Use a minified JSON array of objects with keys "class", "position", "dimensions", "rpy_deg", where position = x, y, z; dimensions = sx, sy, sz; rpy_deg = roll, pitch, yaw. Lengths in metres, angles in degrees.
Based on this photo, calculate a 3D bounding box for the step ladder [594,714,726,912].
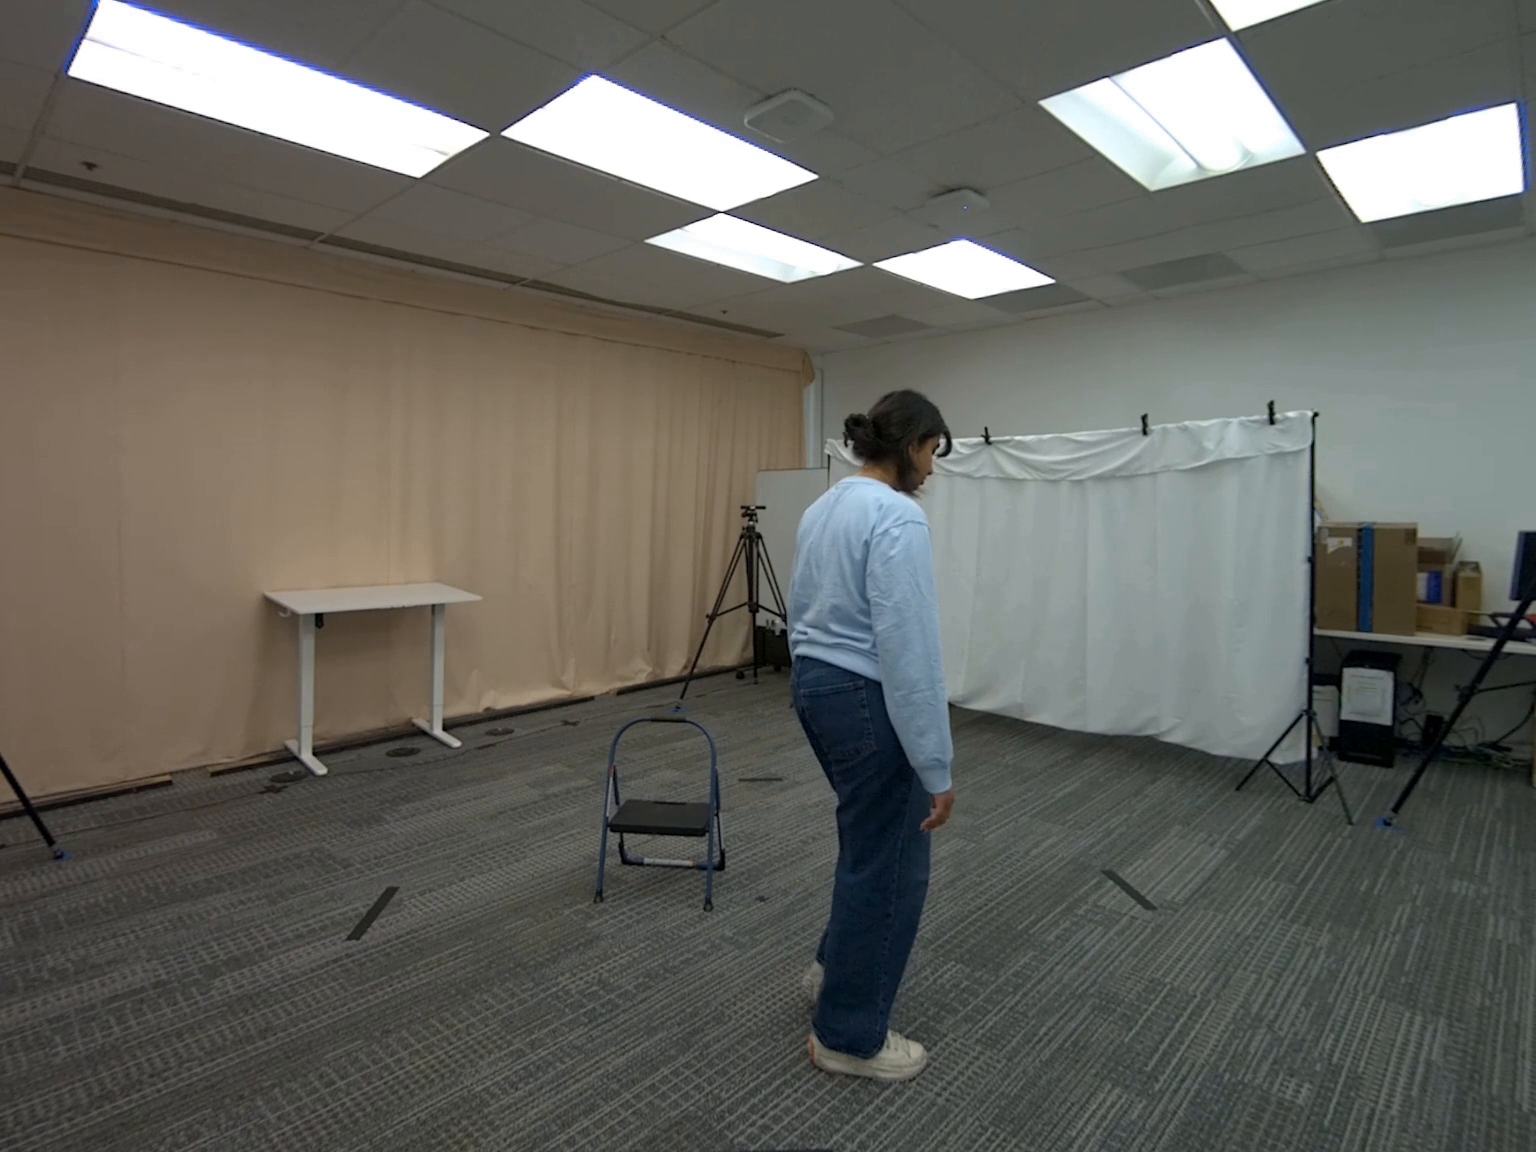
[{"class":"step ladder","position":[-0.388,0.835,3.089],"dimensions":[0.435,0.605,0.346],"rpy_deg":[0,3,8]}]
